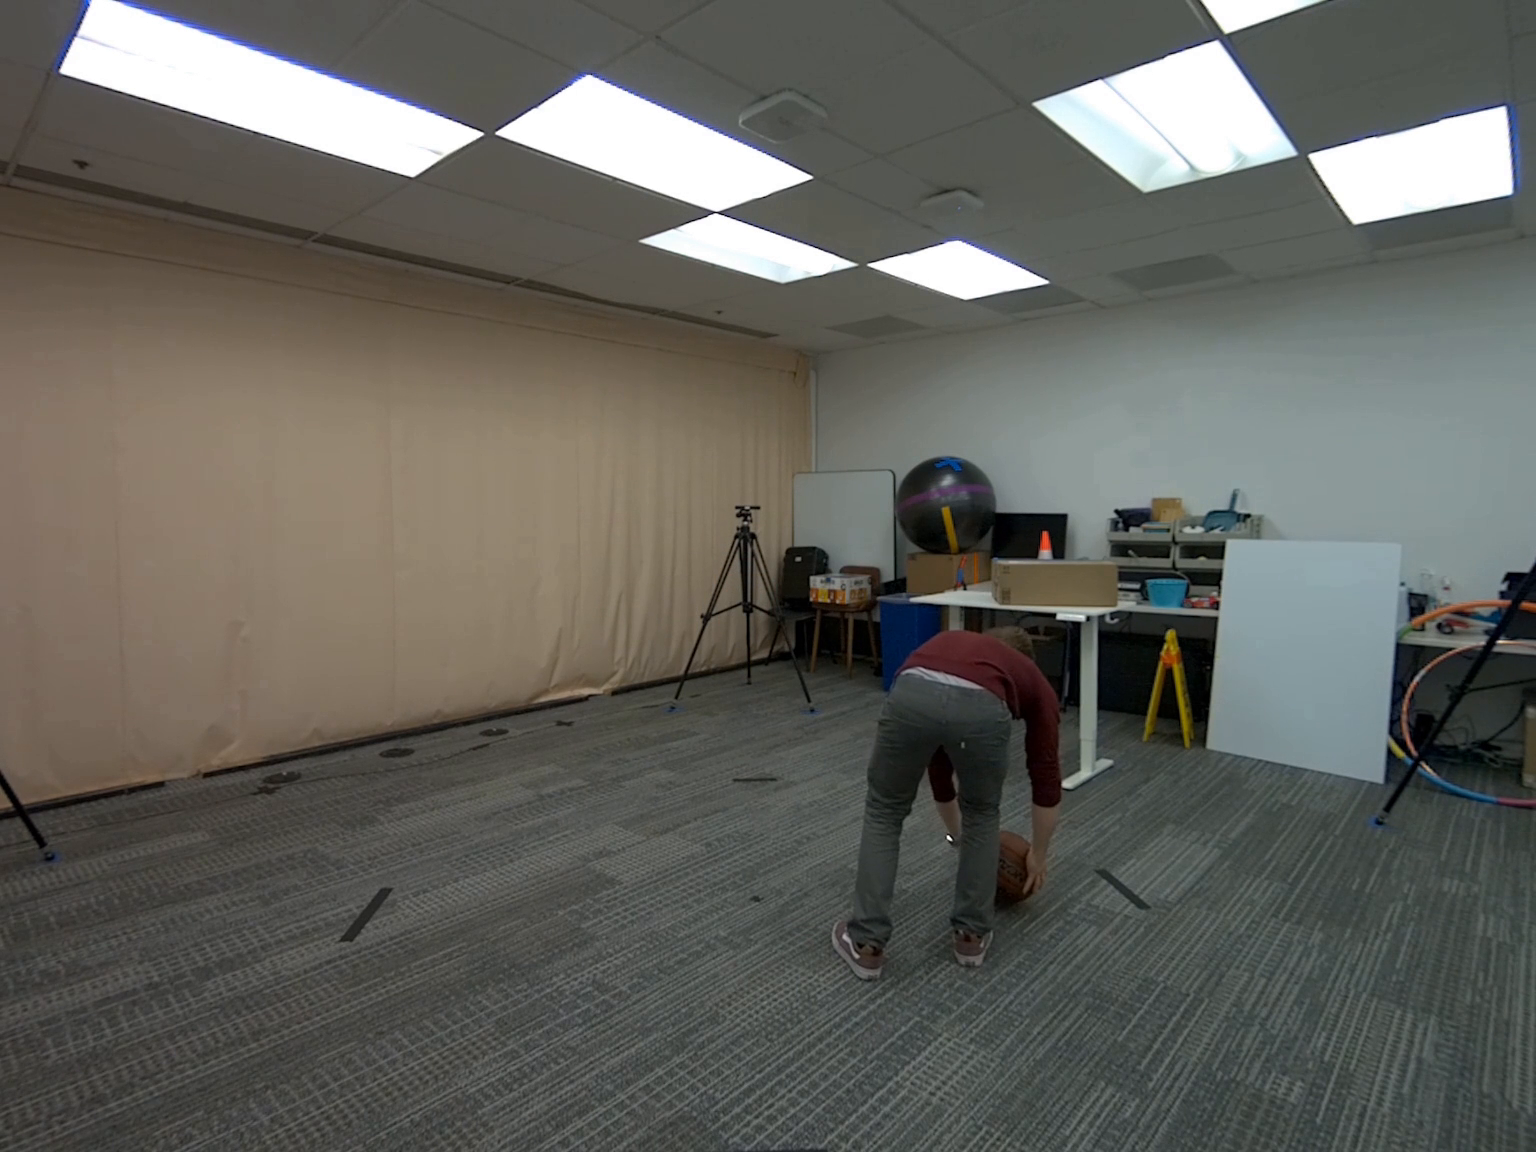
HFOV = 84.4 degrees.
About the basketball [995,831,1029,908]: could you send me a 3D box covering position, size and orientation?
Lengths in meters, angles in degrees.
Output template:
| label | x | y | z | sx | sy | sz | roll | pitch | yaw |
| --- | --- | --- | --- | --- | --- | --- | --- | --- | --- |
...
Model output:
| label | x | y | z | sx | sy | sz | roll | pitch | yaw |
| --- | --- | --- | --- | --- | --- | --- | --- | --- | --- |
| basketball | 0.839 | 1.005 | 2.924 | 0.236 | 0.235 | 0.237 | 0 | 4 | -2 |
